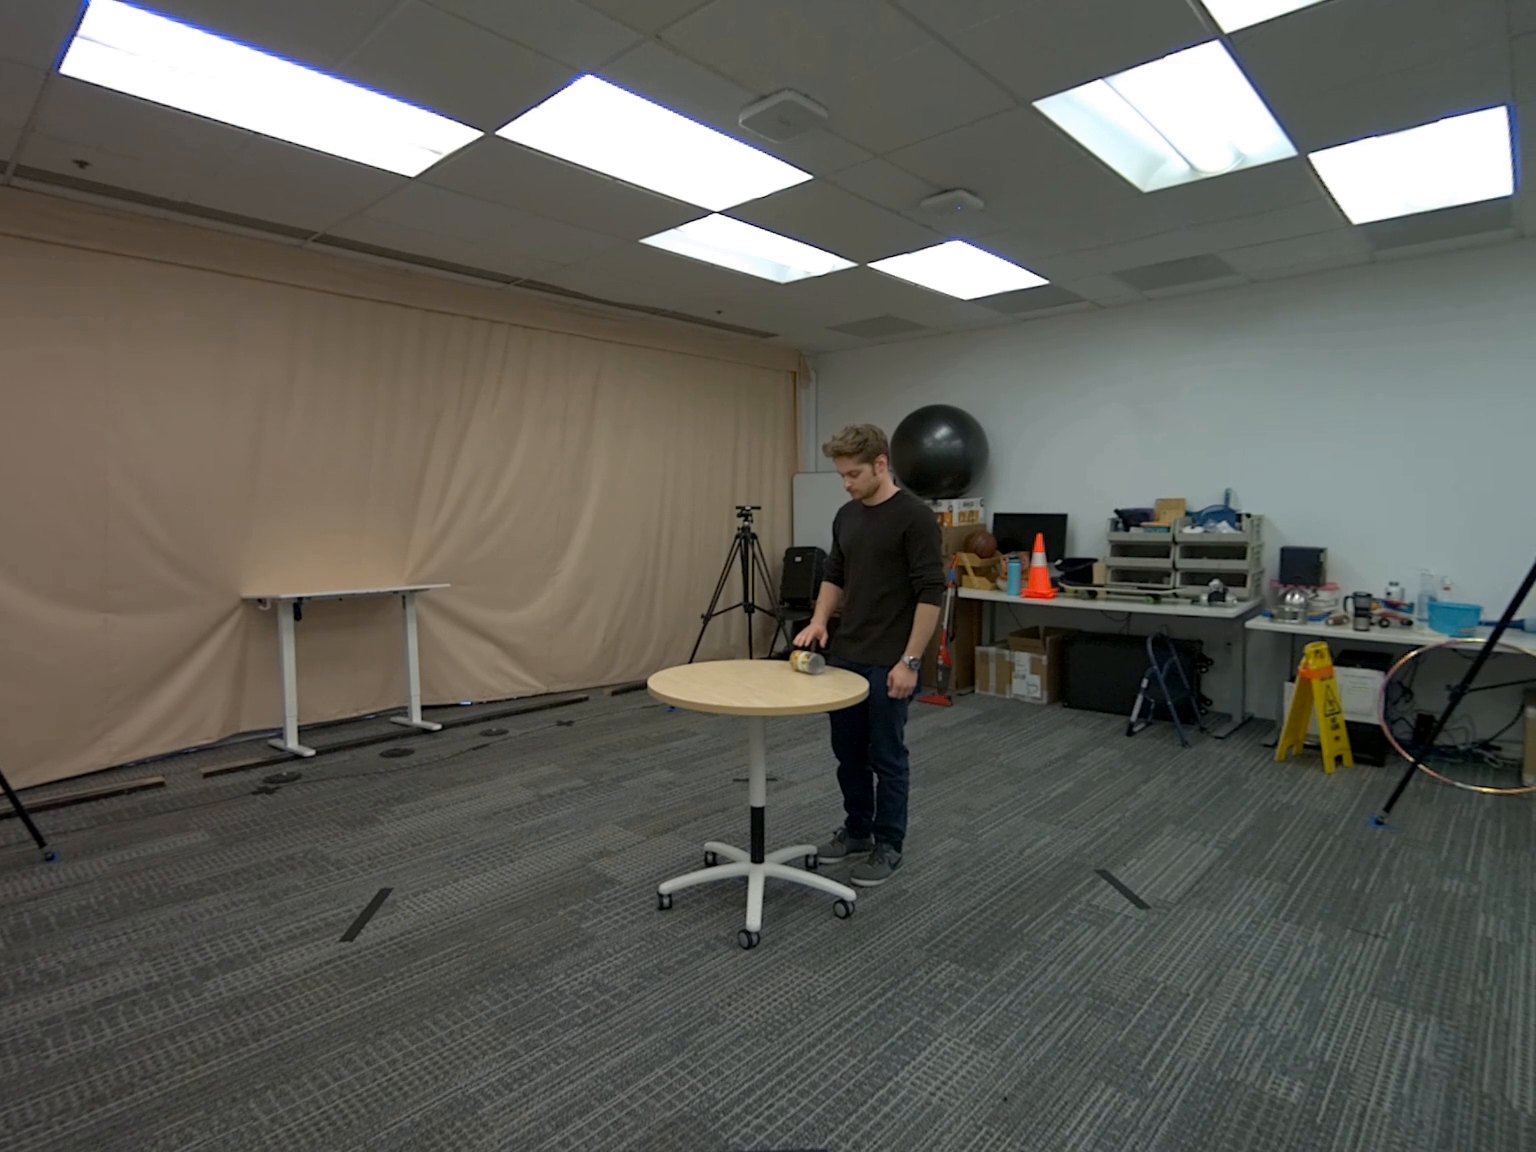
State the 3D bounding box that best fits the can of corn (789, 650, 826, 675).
[{"bbox_3d":[0.143,0.313,3.078,0.072,0.074,0.114,-2,5,-33],"label":"can of corn"}]
